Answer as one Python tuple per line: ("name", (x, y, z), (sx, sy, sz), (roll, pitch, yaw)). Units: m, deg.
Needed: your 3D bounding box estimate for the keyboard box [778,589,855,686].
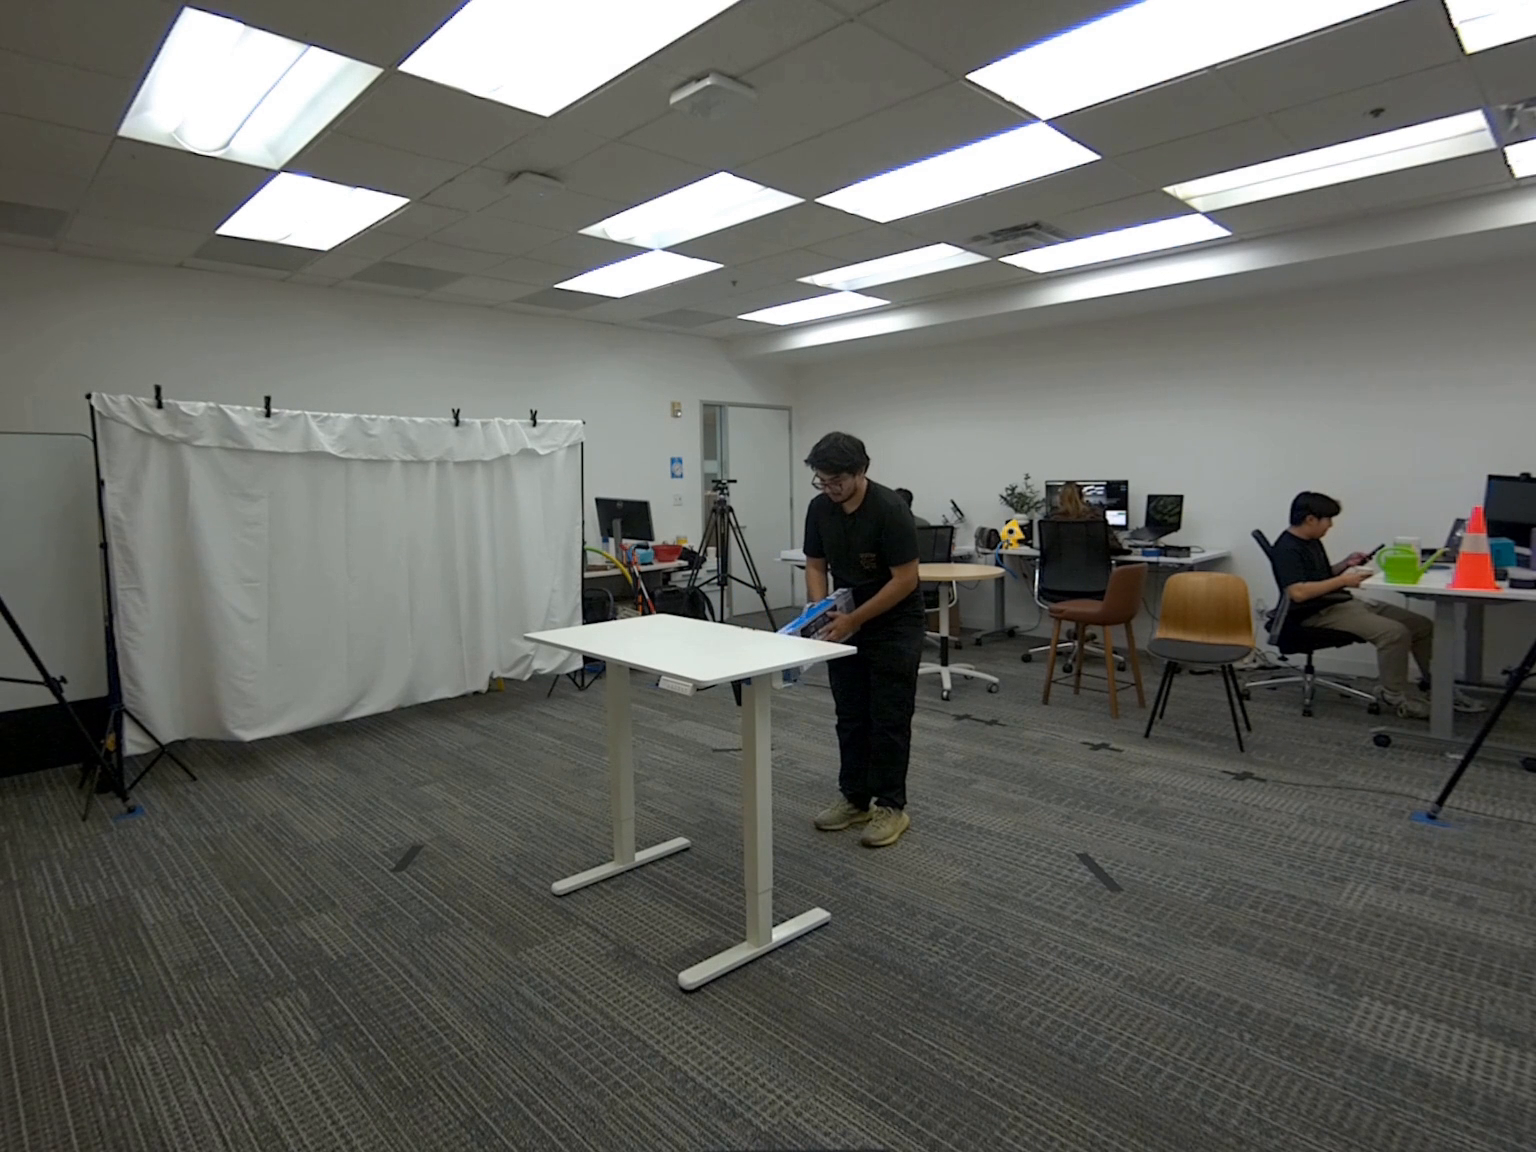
("keyboard box", (0.183, 0.216, 3.155), (0.061, 0.173, 0.432), (1, 24, 43))
